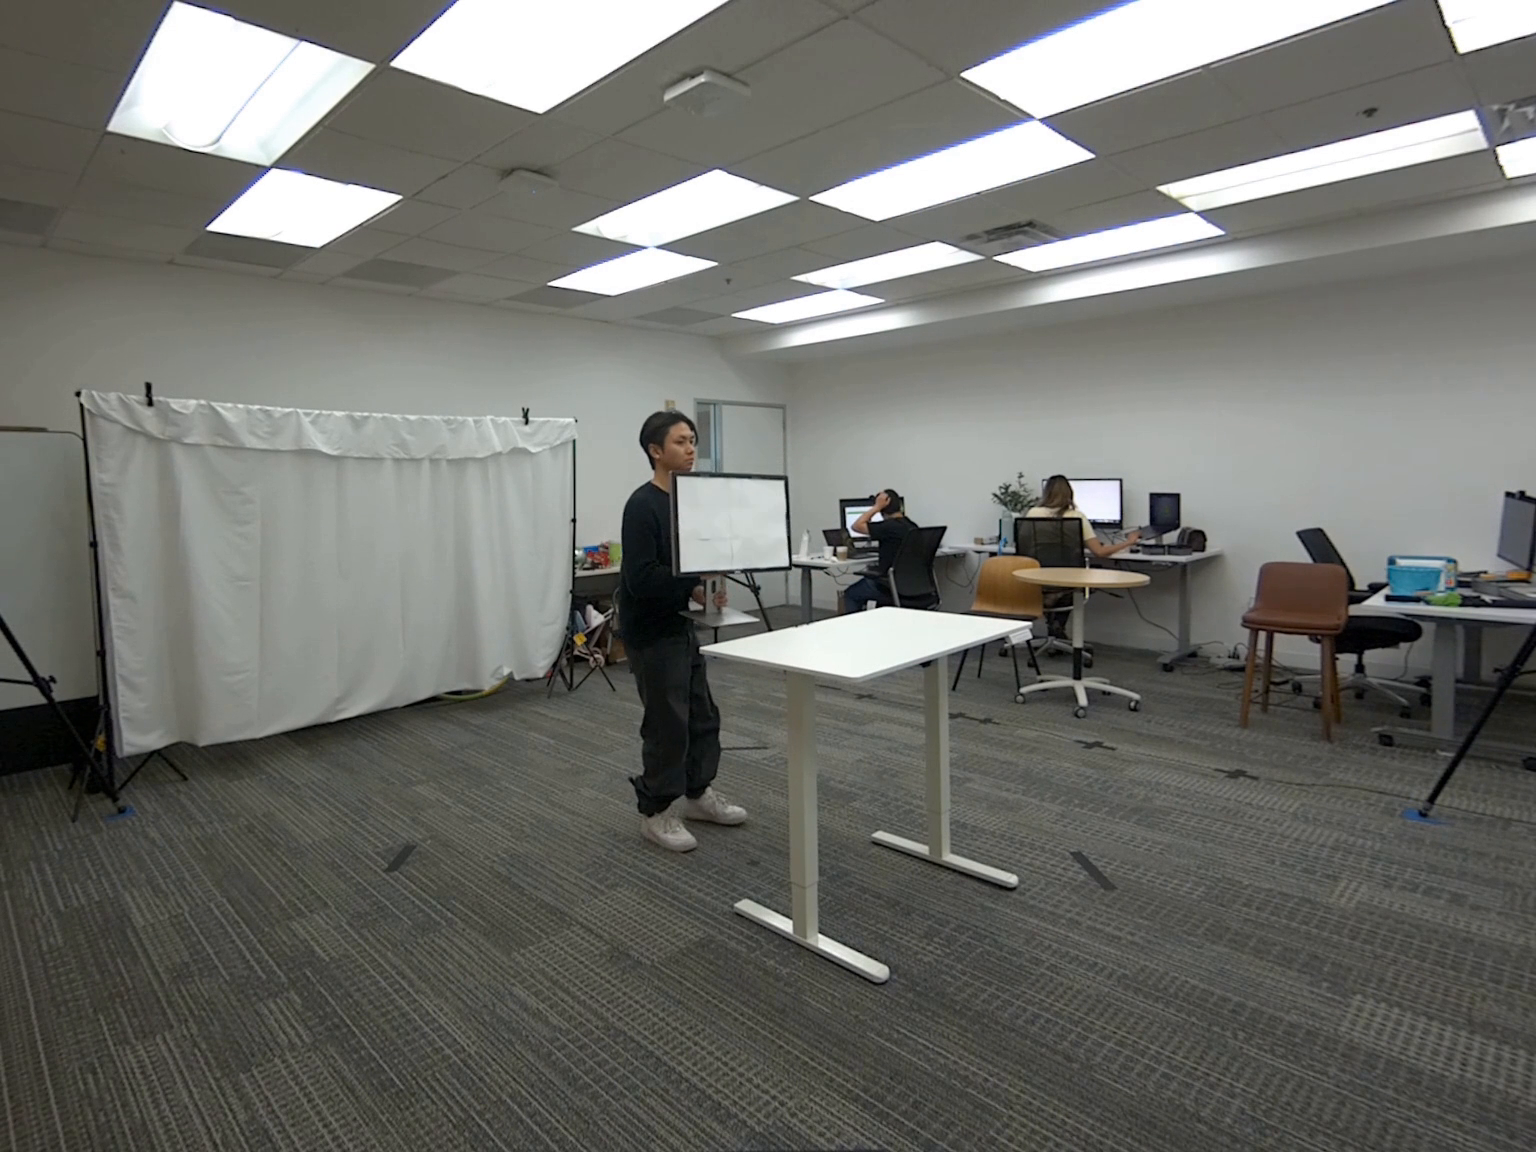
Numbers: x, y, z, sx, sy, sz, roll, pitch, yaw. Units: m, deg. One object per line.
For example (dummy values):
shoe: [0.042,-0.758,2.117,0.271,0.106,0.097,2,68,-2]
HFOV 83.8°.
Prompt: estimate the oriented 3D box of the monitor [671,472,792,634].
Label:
monitor: [-0.151,-0.108,3.126,0.515,0.512,0.181,0,16,-42]
